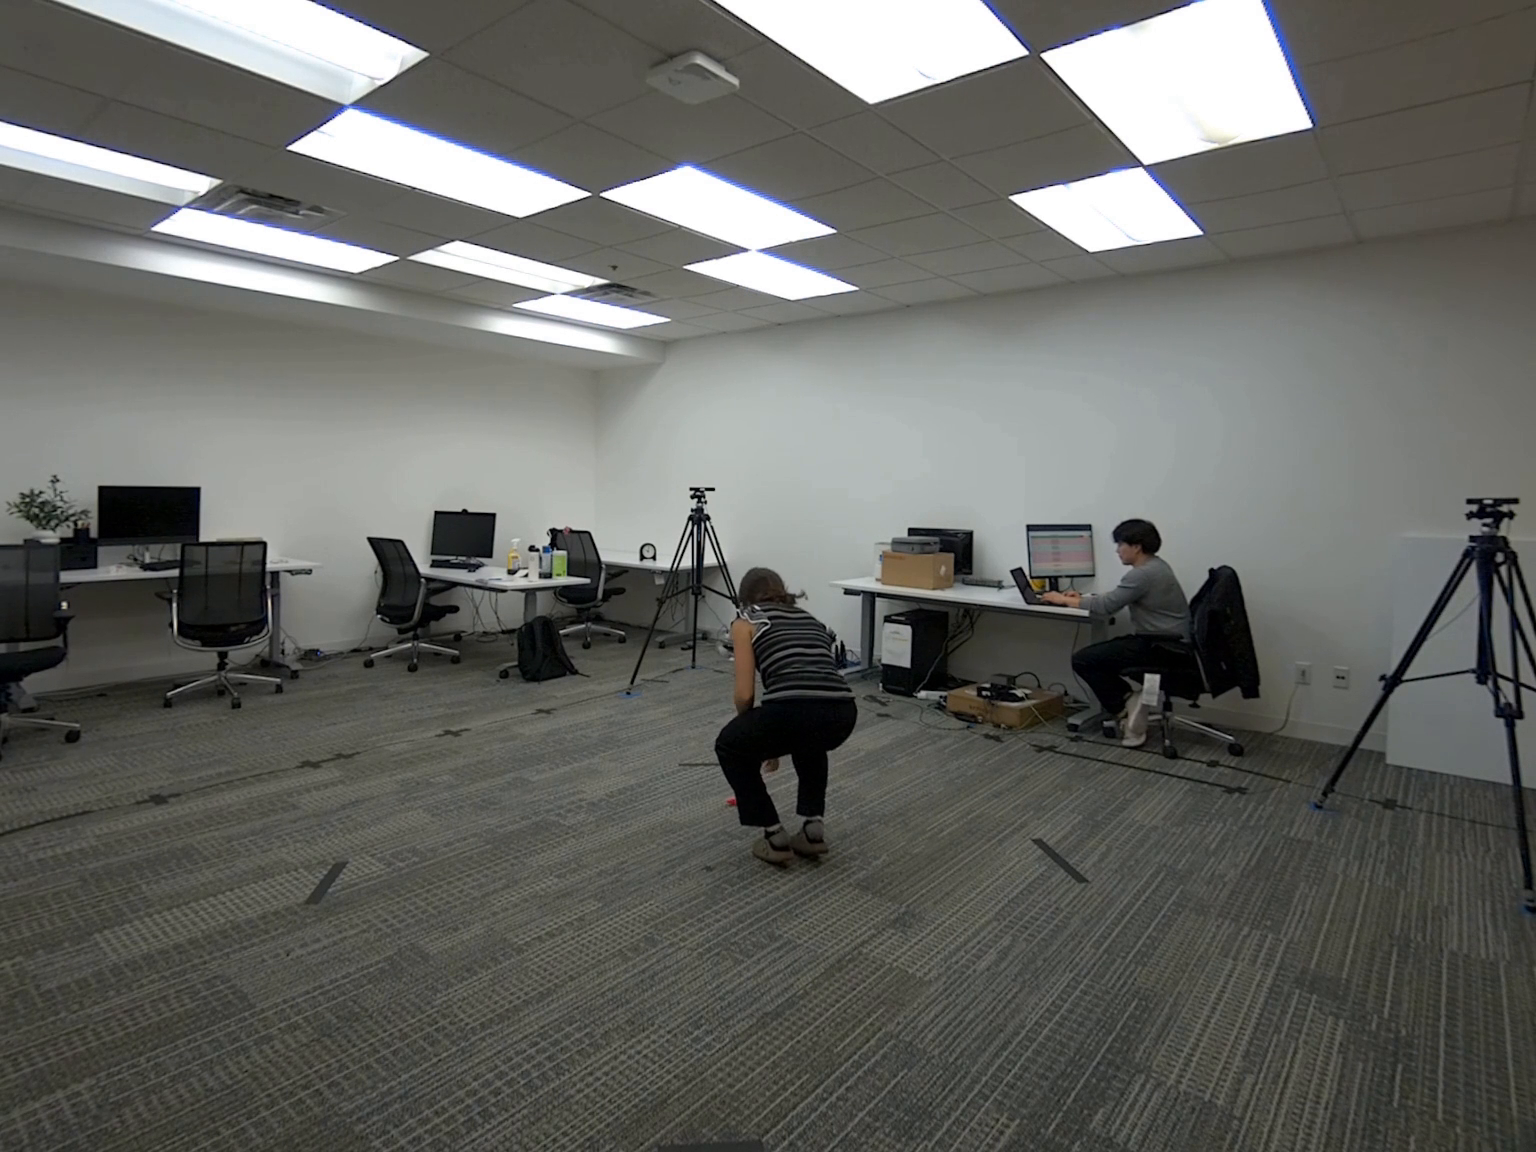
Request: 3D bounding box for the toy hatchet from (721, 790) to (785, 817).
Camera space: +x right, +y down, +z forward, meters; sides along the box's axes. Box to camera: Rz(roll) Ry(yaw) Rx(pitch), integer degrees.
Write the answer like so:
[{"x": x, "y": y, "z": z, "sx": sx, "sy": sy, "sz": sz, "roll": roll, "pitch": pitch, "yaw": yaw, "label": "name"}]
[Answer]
[{"x": -0.069, "y": 0.993, "z": 3.667, "sx": 0.127, "sy": 0.029, "sz": 0.280, "roll": 0, "pitch": 8, "yaw": -40, "label": "toy hatchet"}]
